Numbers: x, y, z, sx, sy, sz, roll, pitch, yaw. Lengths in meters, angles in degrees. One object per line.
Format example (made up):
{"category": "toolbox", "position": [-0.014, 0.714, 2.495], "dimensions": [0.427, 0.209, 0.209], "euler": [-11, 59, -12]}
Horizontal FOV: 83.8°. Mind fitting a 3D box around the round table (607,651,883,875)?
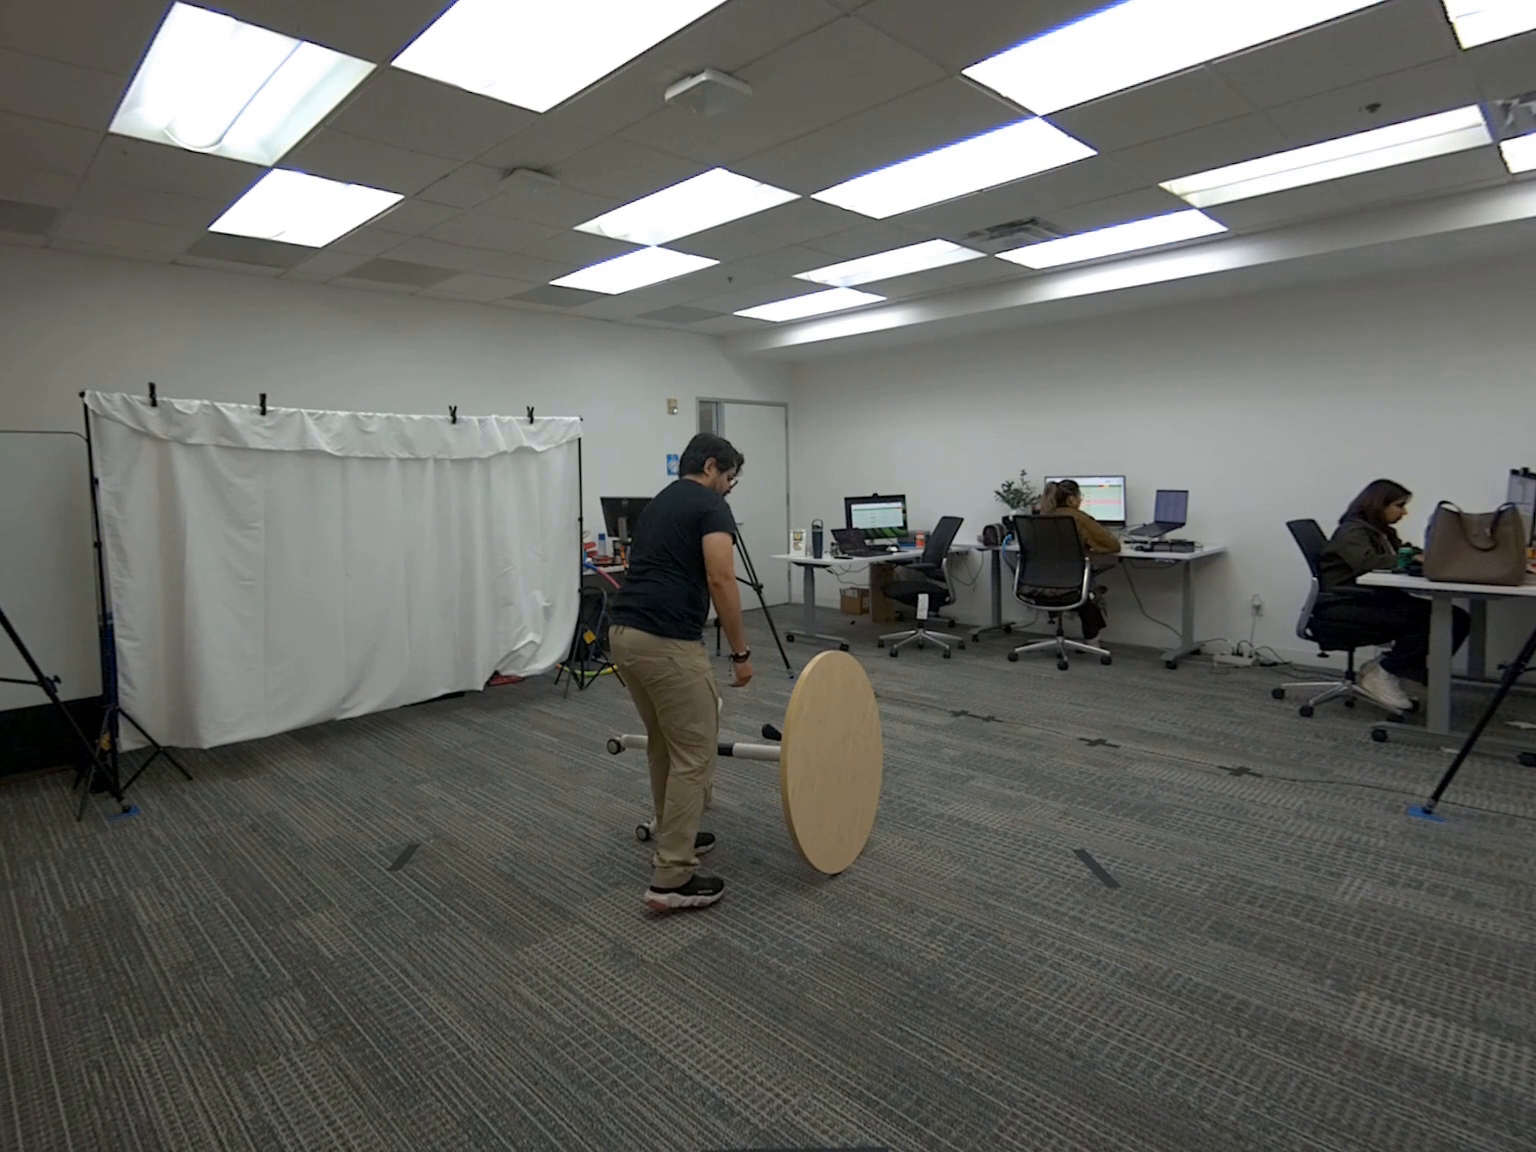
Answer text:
{"category": "round table", "position": [-0.086, 0.659, 3.276], "dimensions": [0.806, 0.784, 0.767], "euler": [-3, 3, 32]}
